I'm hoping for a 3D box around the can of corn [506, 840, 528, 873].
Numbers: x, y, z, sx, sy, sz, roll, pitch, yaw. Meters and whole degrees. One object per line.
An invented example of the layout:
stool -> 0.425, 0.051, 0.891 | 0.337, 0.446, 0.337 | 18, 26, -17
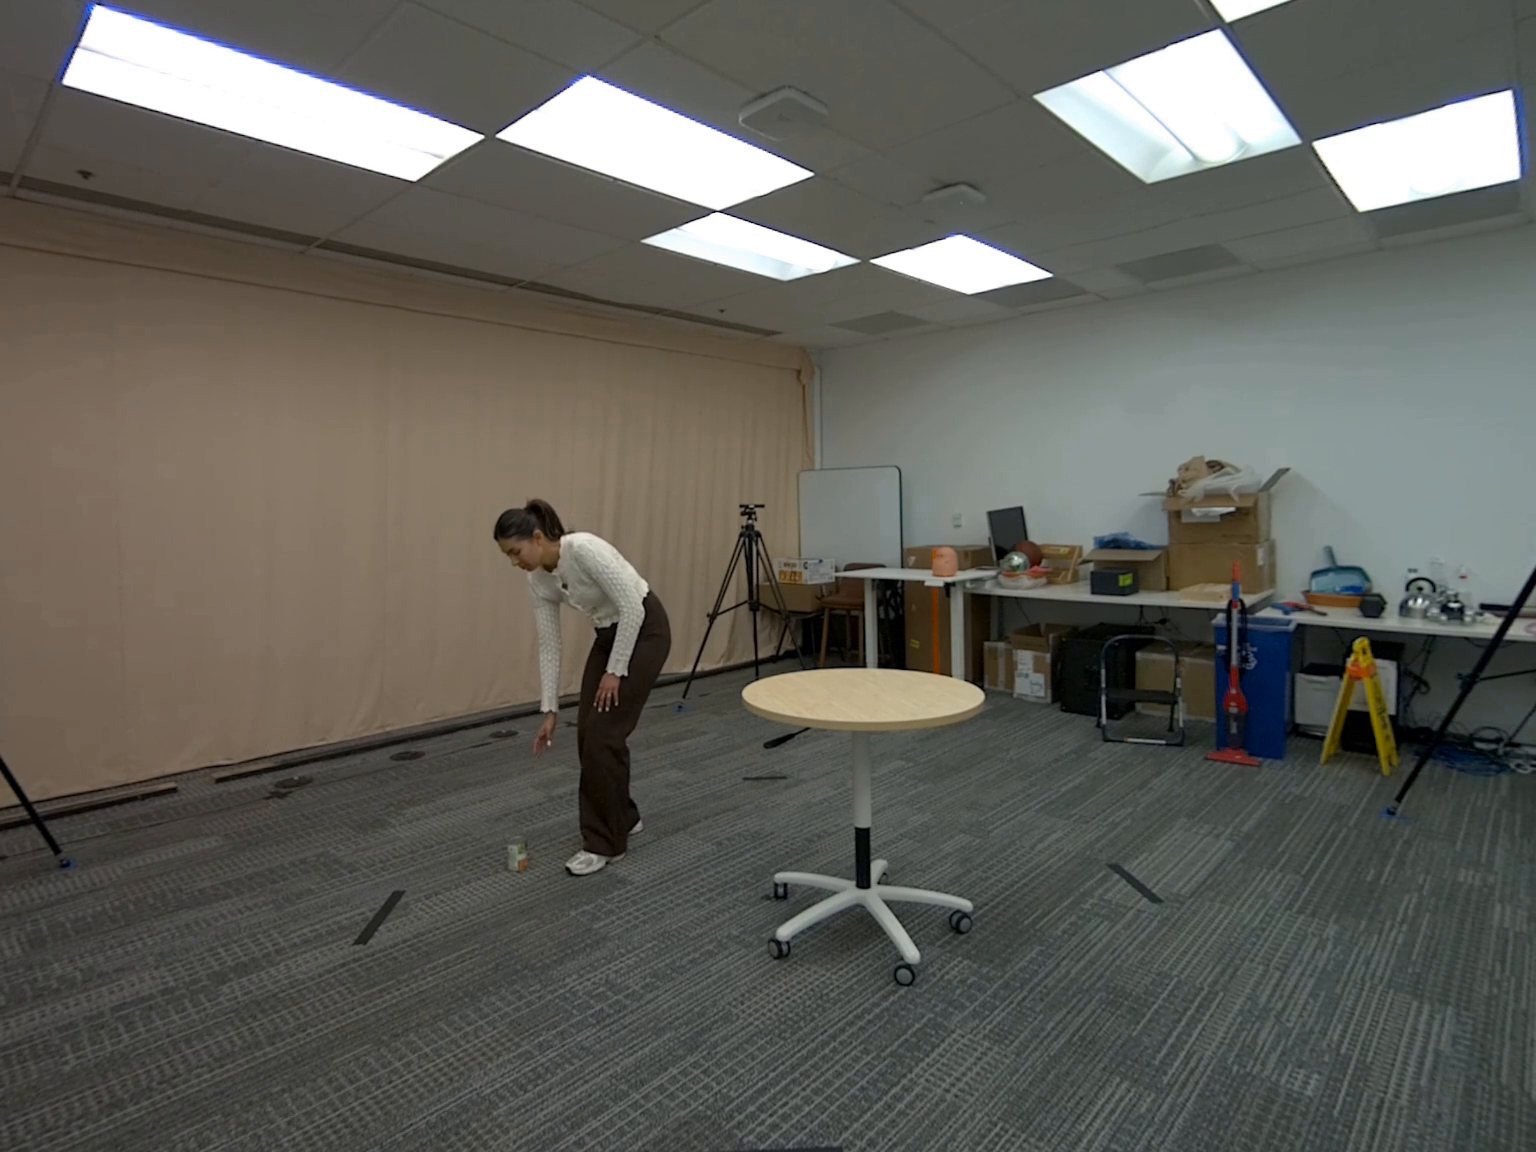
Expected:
can of corn -> -0.978, 1.088, 3.280 | 0.074, 0.111, 0.074 | -2, 3, -2
